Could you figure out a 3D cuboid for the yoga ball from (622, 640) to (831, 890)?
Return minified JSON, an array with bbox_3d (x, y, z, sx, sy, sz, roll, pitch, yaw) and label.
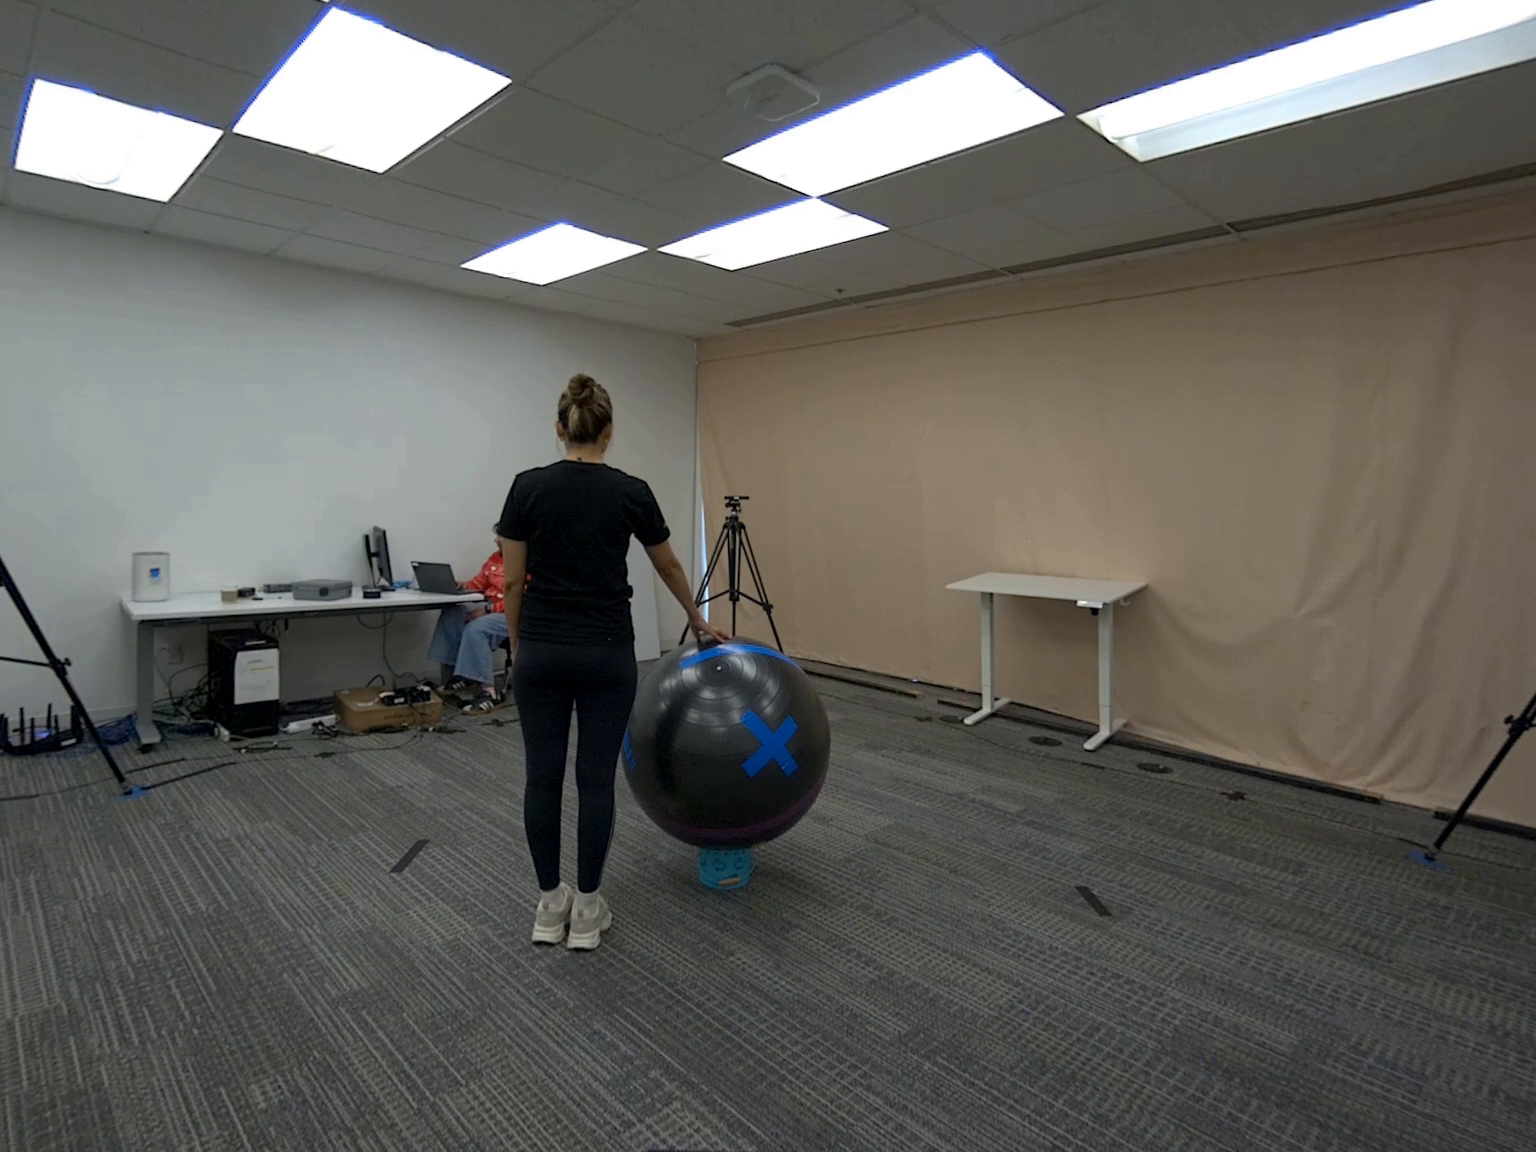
[{"bbox_3d":[-0.157,0.603,3.047,0.757,0.756,0.761,1,4,-1],"label":"yoga ball"}]
